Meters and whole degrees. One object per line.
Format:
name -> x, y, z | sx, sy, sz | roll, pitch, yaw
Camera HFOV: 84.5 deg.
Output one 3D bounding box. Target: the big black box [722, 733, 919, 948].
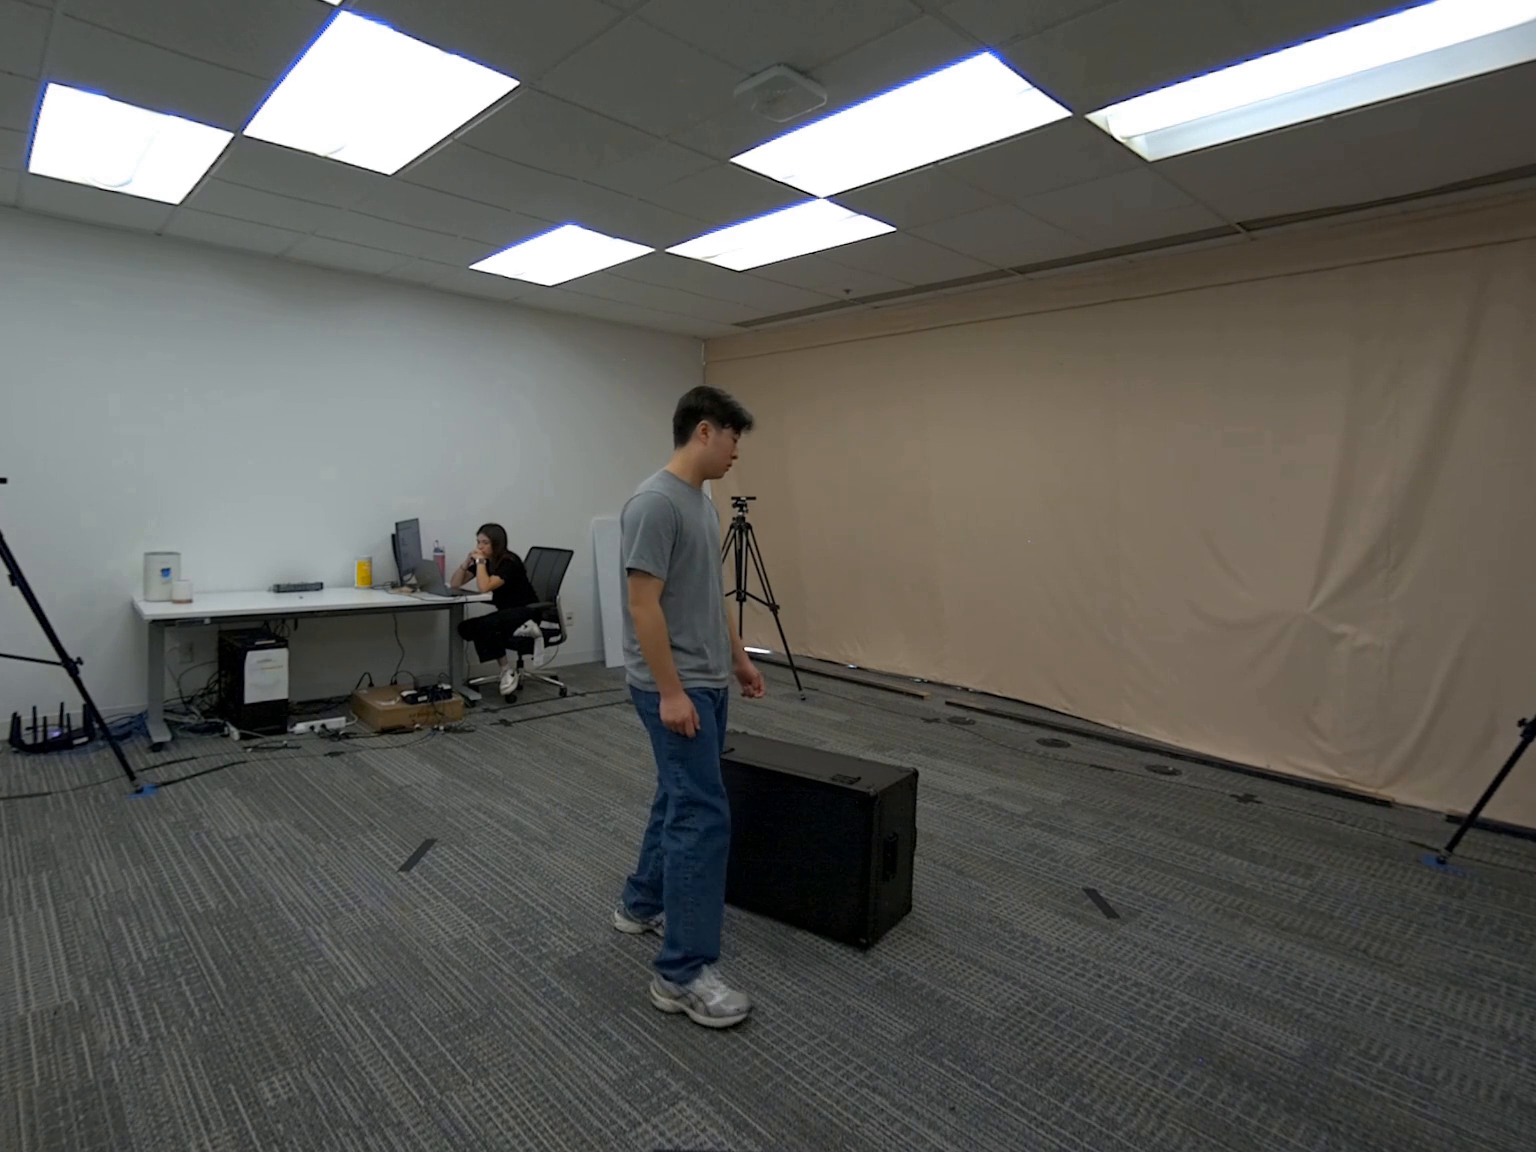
big black box -> 0.056, 0.866, 2.967 | 0.882, 0.520, 0.387 | 5, 3, 33
